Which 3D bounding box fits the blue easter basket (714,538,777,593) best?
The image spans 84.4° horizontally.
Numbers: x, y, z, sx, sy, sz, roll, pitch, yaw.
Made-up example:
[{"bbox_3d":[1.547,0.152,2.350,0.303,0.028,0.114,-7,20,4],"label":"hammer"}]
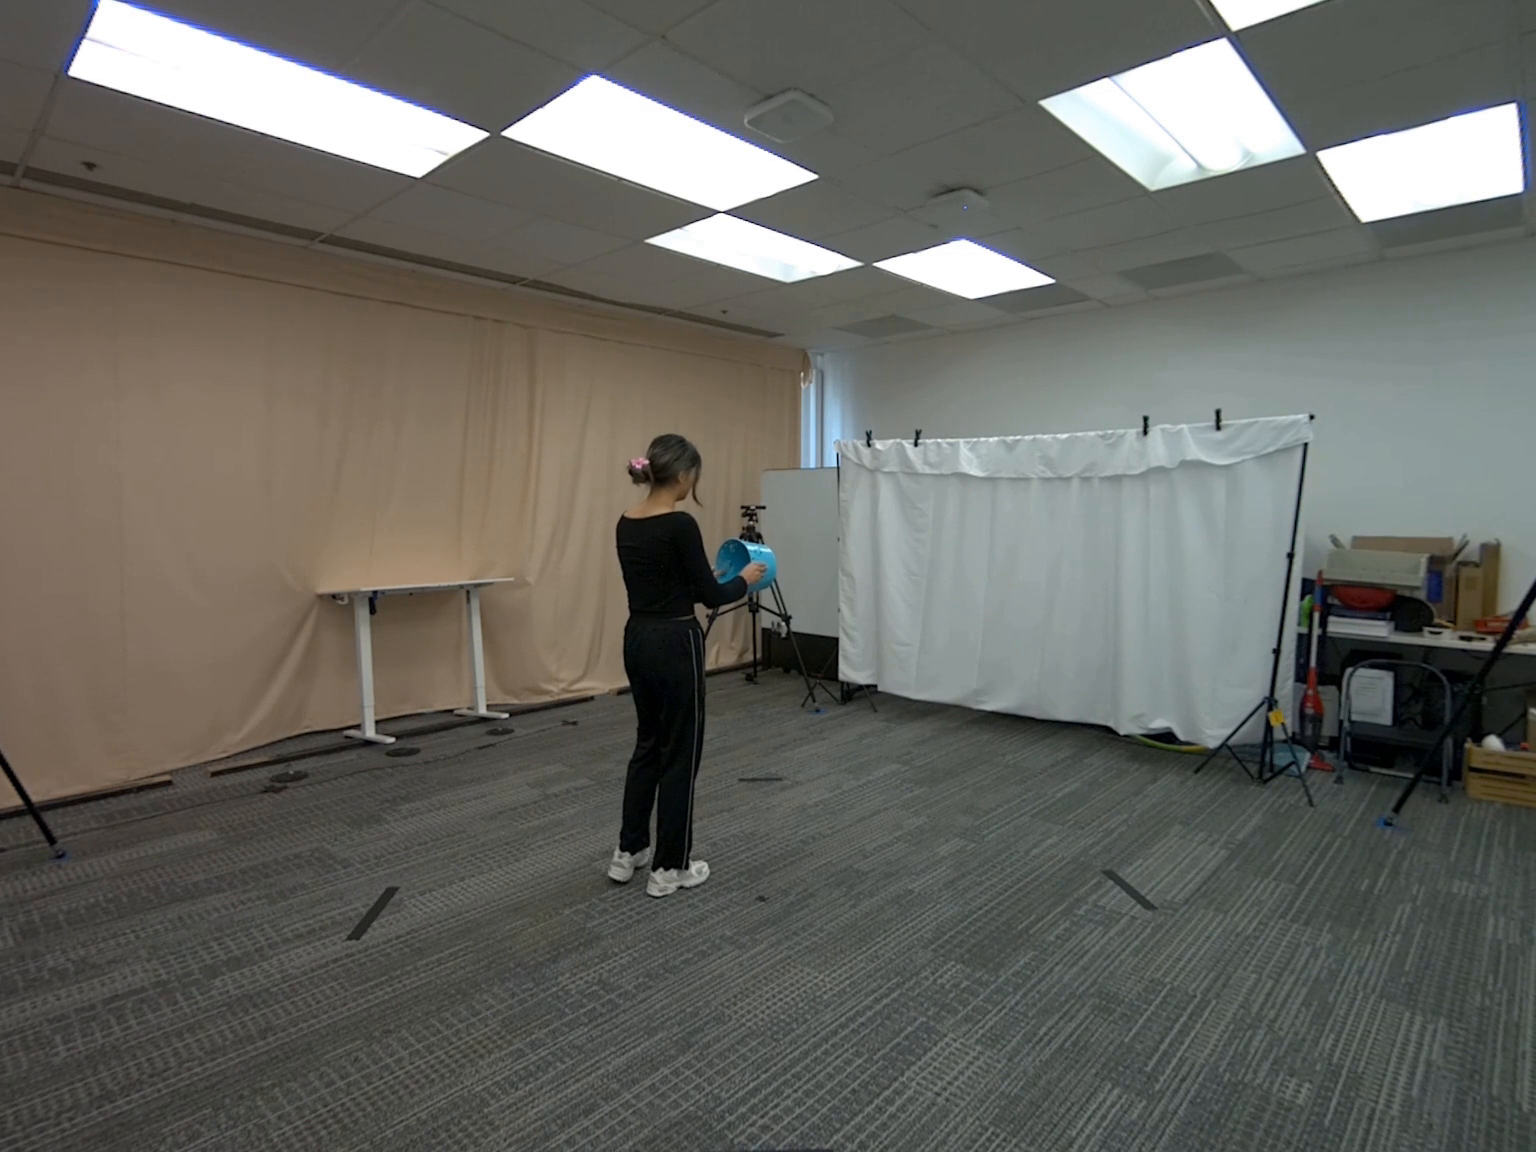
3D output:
[{"bbox_3d":[-0.078,-0.032,3.354,0.151,0.243,0.252,3,1,-41],"label":"blue easter basket"}]
